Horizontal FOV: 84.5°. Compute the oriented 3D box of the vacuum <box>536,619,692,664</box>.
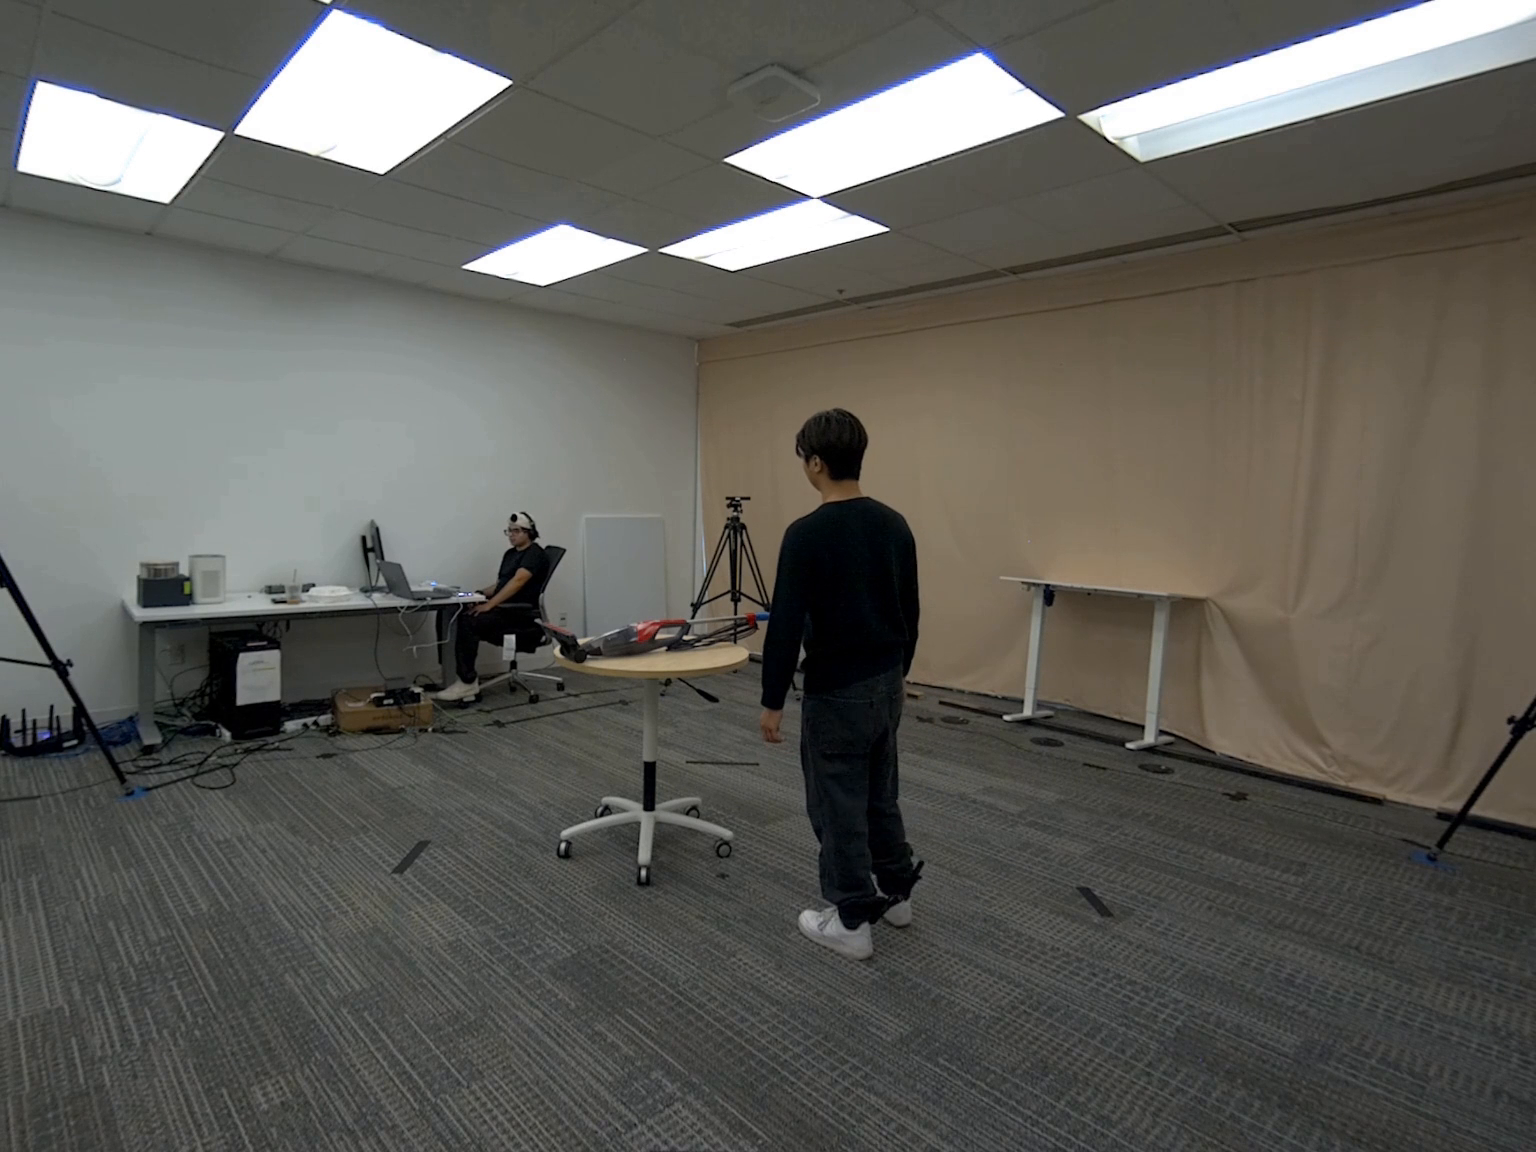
[{"bbox_3d":[-0.343,0.240,3.365,1.027,0.143,0.259,-2,6,-35],"label":"vacuum"}]
